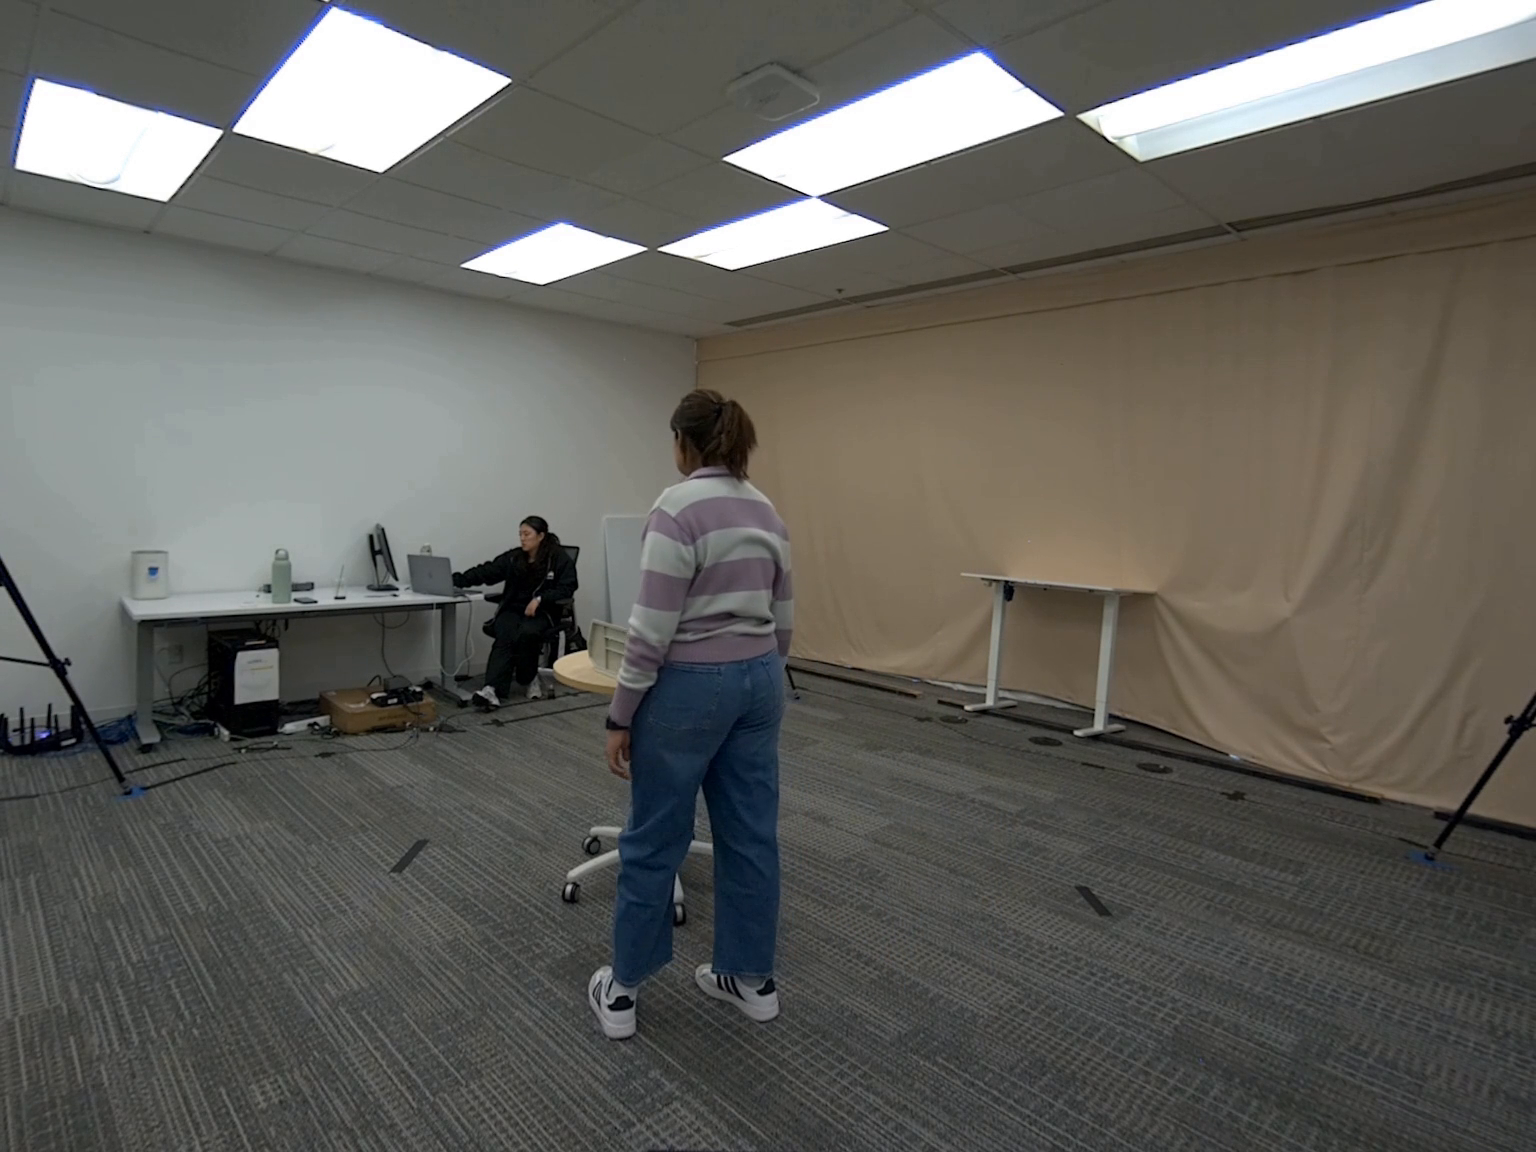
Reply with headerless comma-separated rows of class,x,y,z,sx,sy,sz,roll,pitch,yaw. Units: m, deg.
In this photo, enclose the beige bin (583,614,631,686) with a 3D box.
beige bin,-0.354,0.250,2.910,0.413,0.188,0.387,-2,8,-39
